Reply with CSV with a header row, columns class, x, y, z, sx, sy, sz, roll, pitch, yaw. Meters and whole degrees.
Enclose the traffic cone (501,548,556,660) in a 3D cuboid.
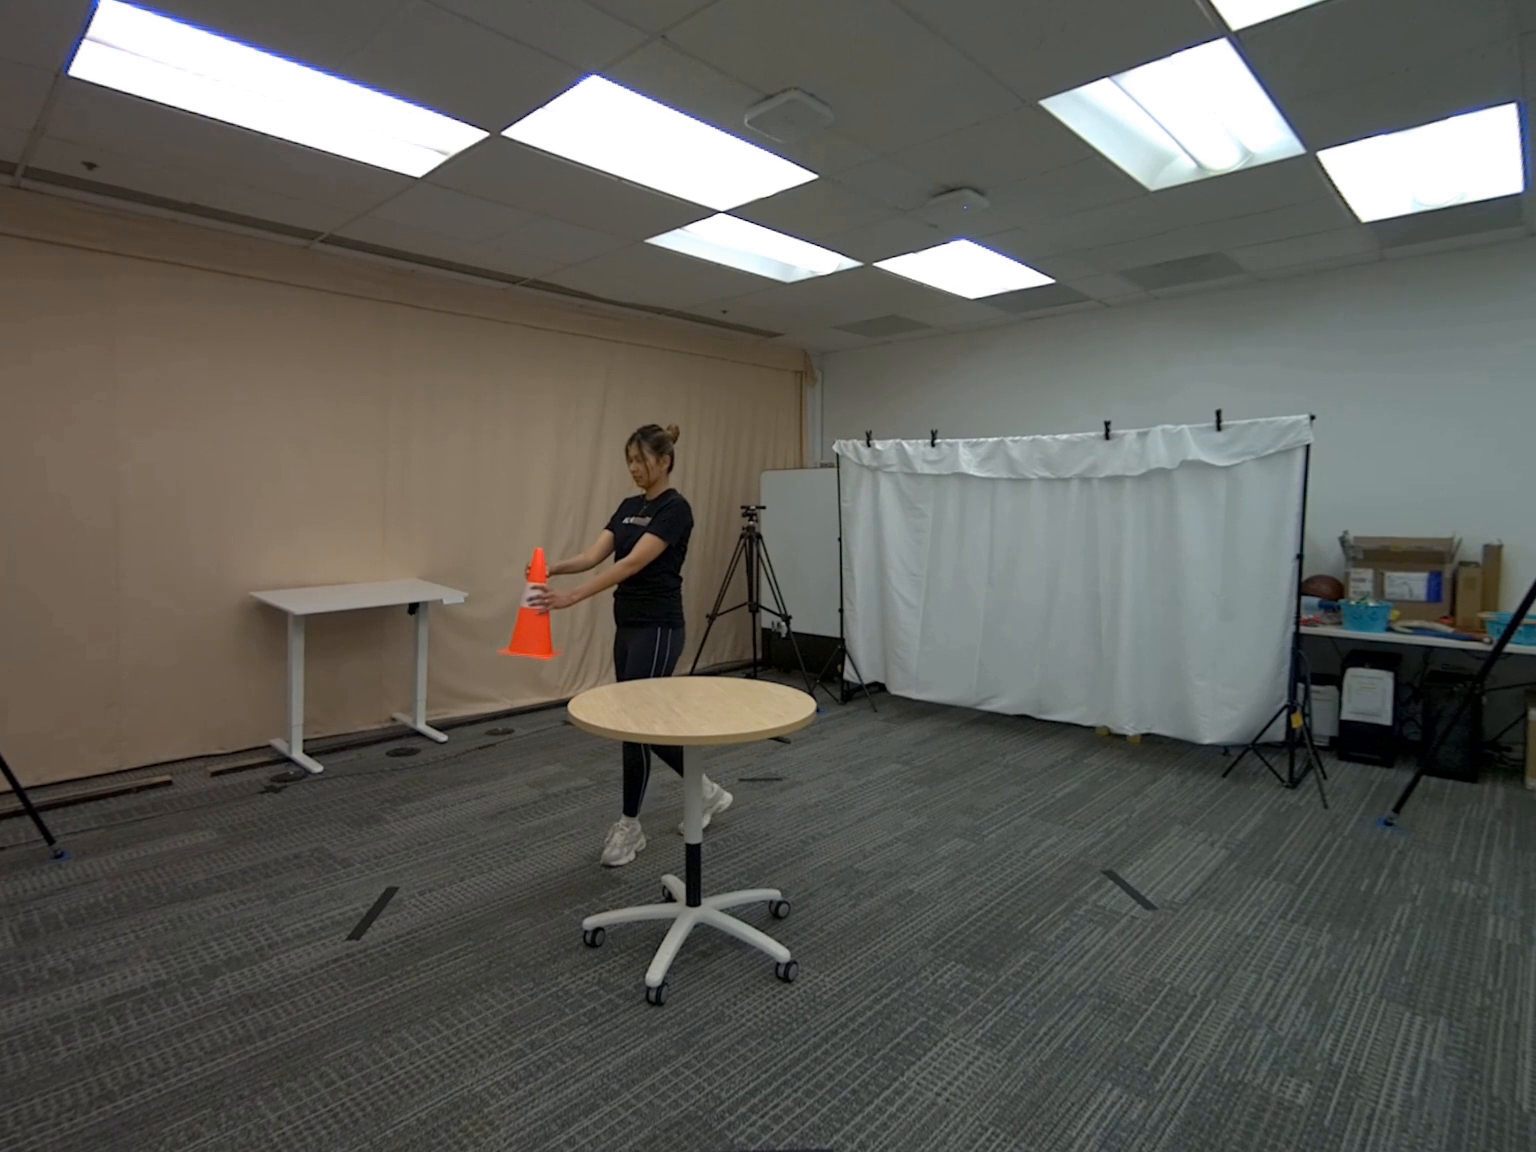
class,x,y,z,sx,sy,sz,roll,pitch,yaw
traffic cone,-0.857,0.092,3.087,0.206,0.383,0.203,4,1,2
